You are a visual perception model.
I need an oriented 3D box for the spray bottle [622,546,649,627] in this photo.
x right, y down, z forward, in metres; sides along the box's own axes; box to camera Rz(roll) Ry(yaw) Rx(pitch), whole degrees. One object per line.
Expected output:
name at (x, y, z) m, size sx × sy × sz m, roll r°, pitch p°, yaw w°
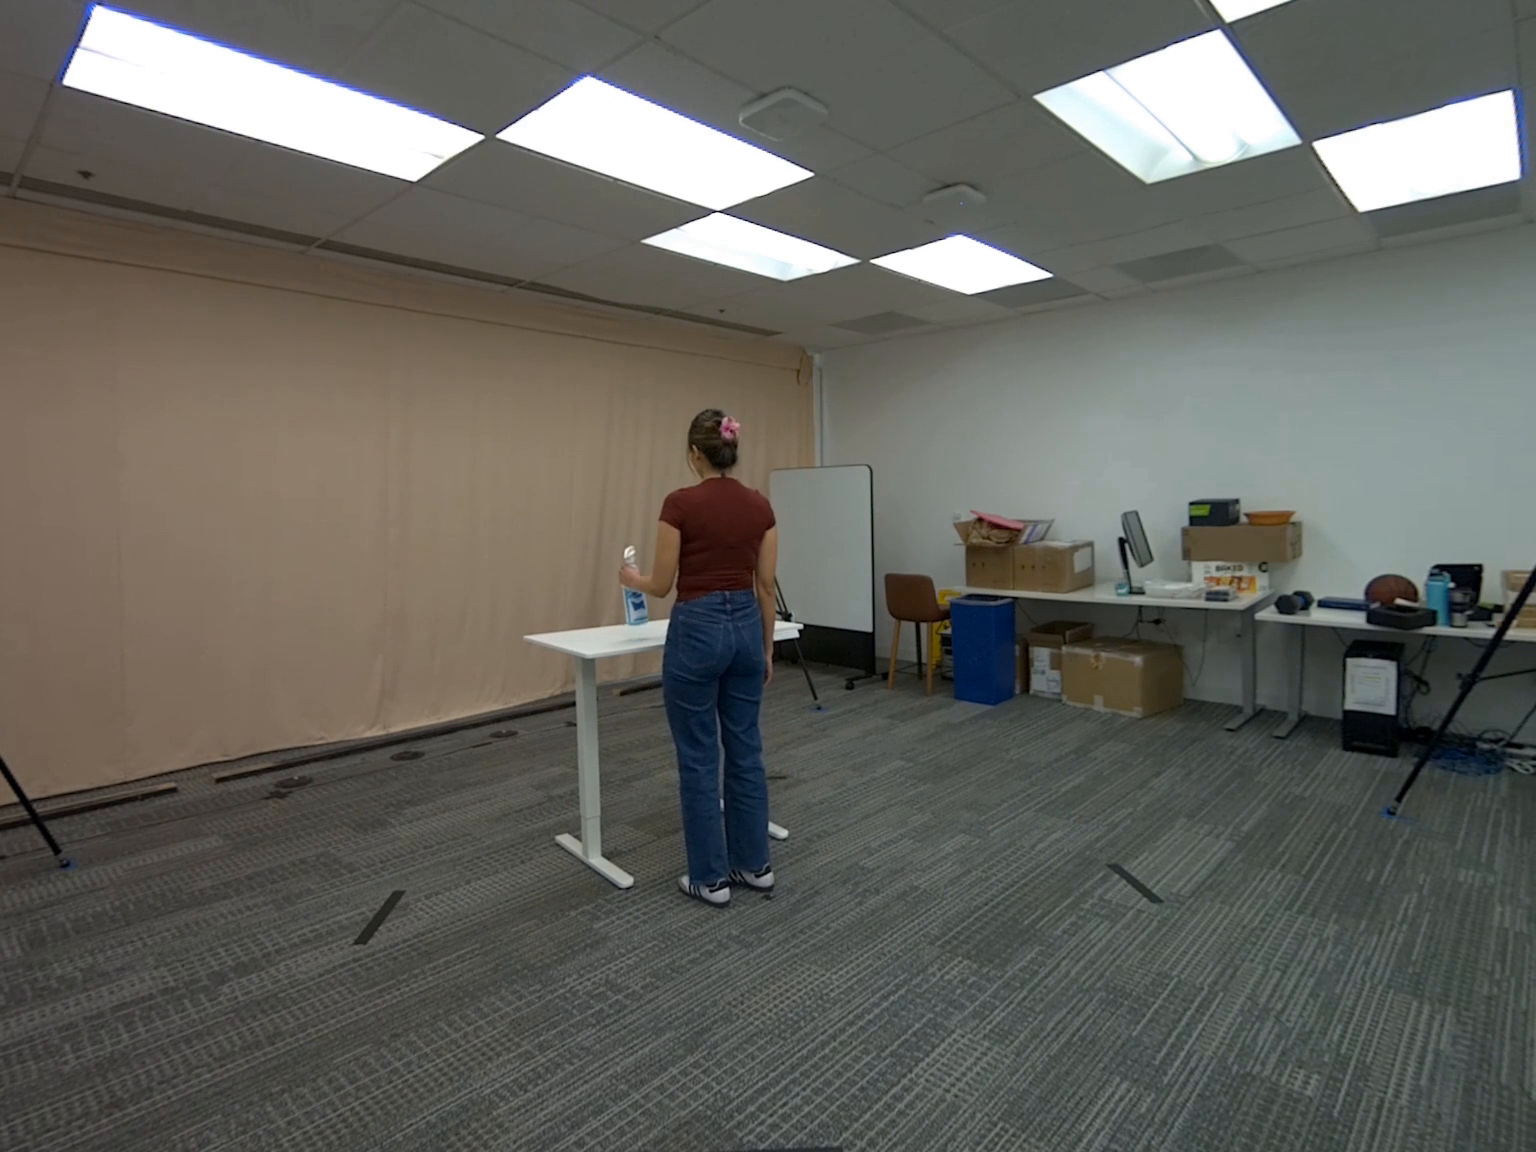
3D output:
spray bottle at (-0.519, 0.042, 3.233) m, size 0.090 × 0.295 × 0.088 m, roll 2°, pitch 10°, yaw 36°
